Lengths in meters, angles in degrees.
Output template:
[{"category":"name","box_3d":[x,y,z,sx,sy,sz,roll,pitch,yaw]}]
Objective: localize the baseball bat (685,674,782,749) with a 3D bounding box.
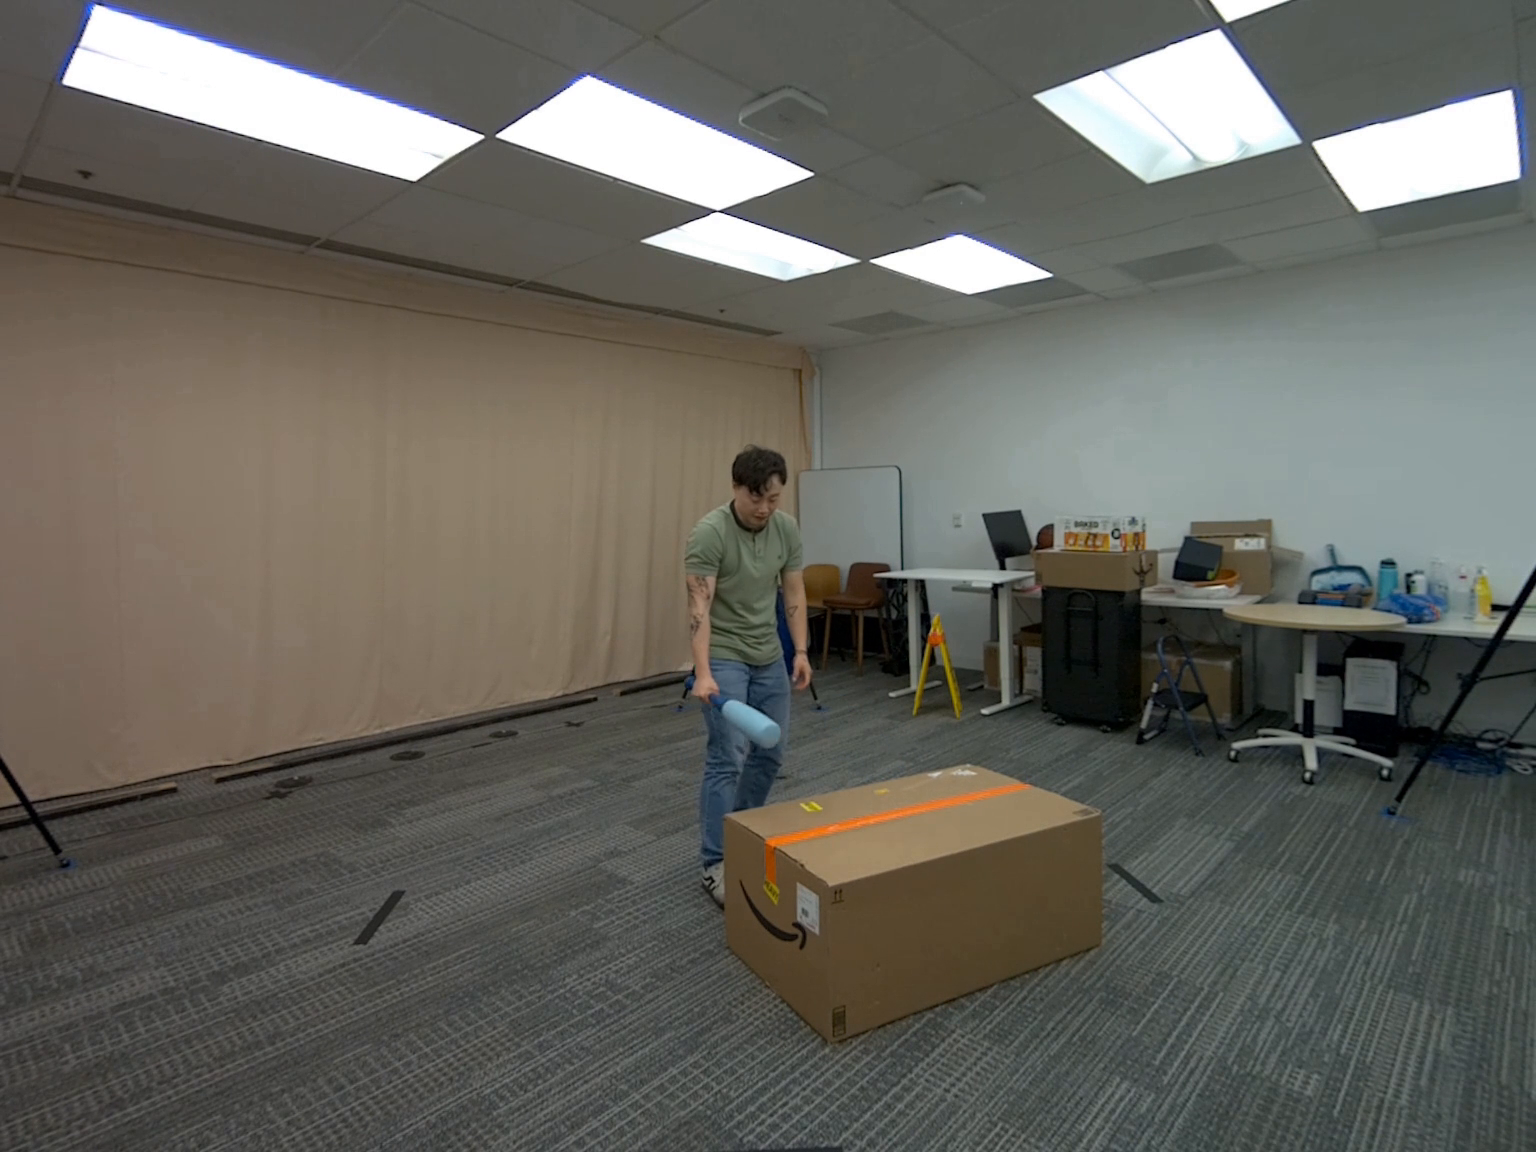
[{"category":"baseball bat","box_3d":[-0.130,0.445,2.837,0.087,0.088,0.560,-3,12,-30]}]
